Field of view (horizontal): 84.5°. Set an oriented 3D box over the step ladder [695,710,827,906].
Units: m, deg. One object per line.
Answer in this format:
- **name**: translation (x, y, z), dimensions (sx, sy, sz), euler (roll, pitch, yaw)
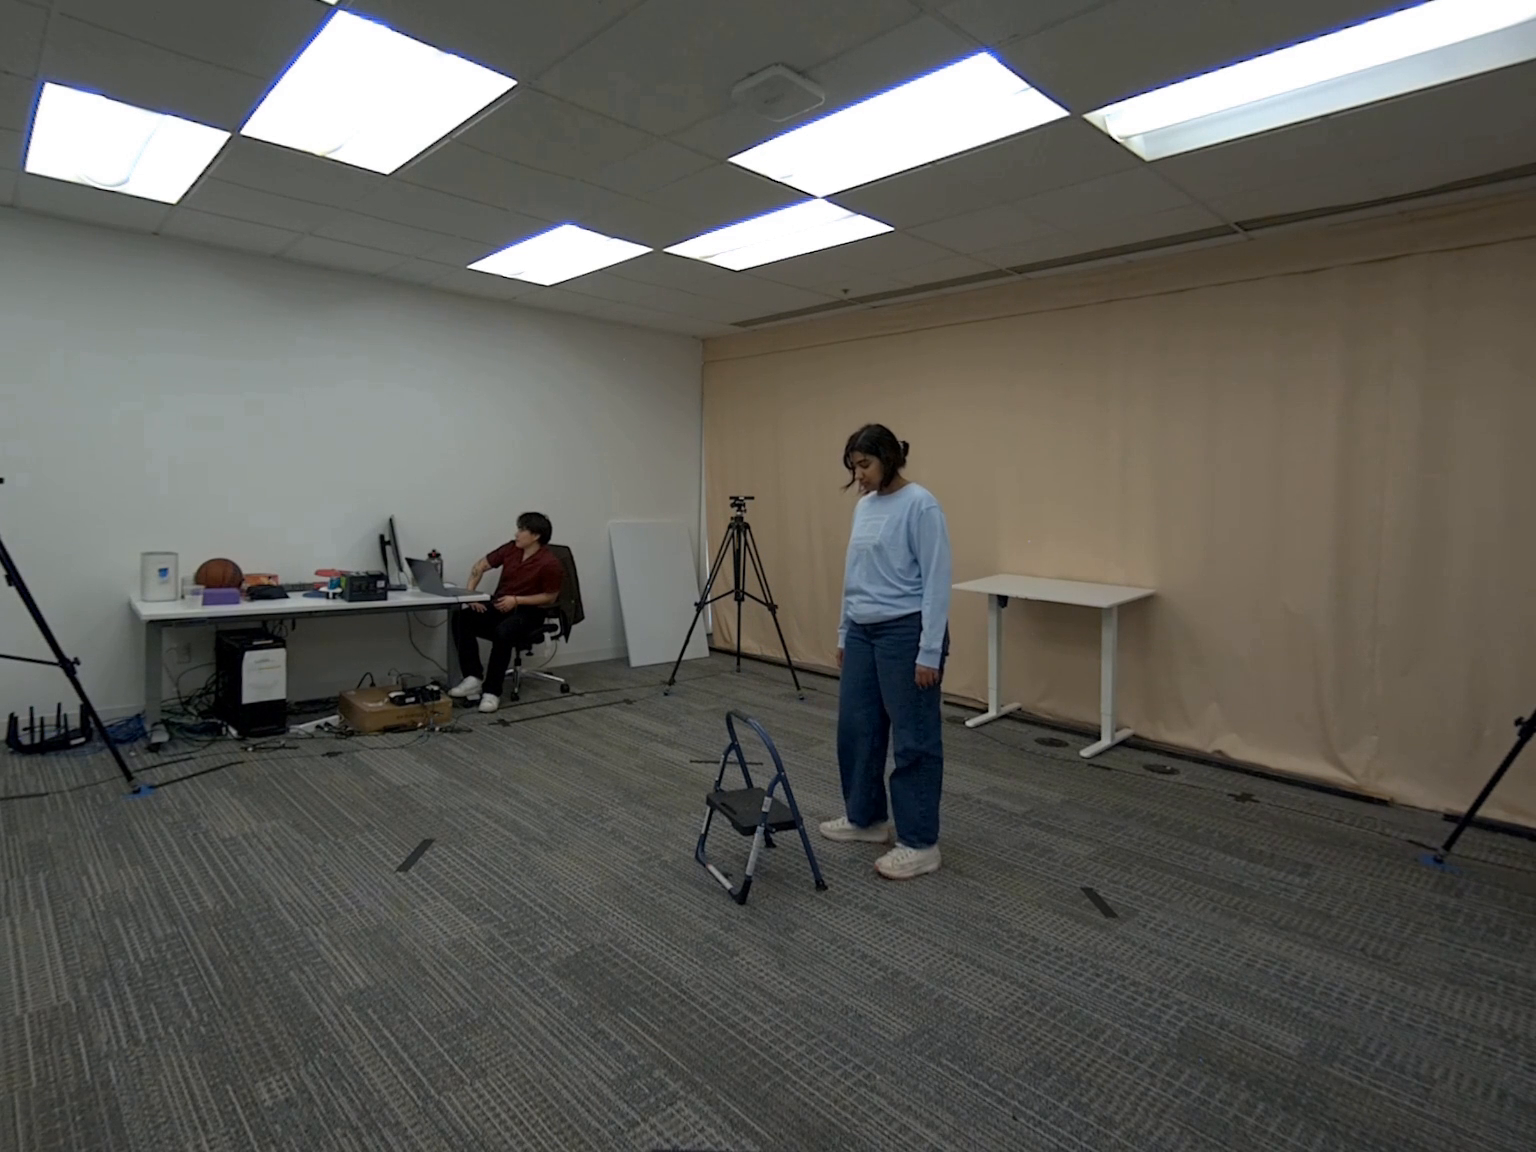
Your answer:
- **step ladder**: translation (-0.037, 0.805, 3.110), dimensions (0.343, 0.605, 0.440), euler (0, 4, -27)
